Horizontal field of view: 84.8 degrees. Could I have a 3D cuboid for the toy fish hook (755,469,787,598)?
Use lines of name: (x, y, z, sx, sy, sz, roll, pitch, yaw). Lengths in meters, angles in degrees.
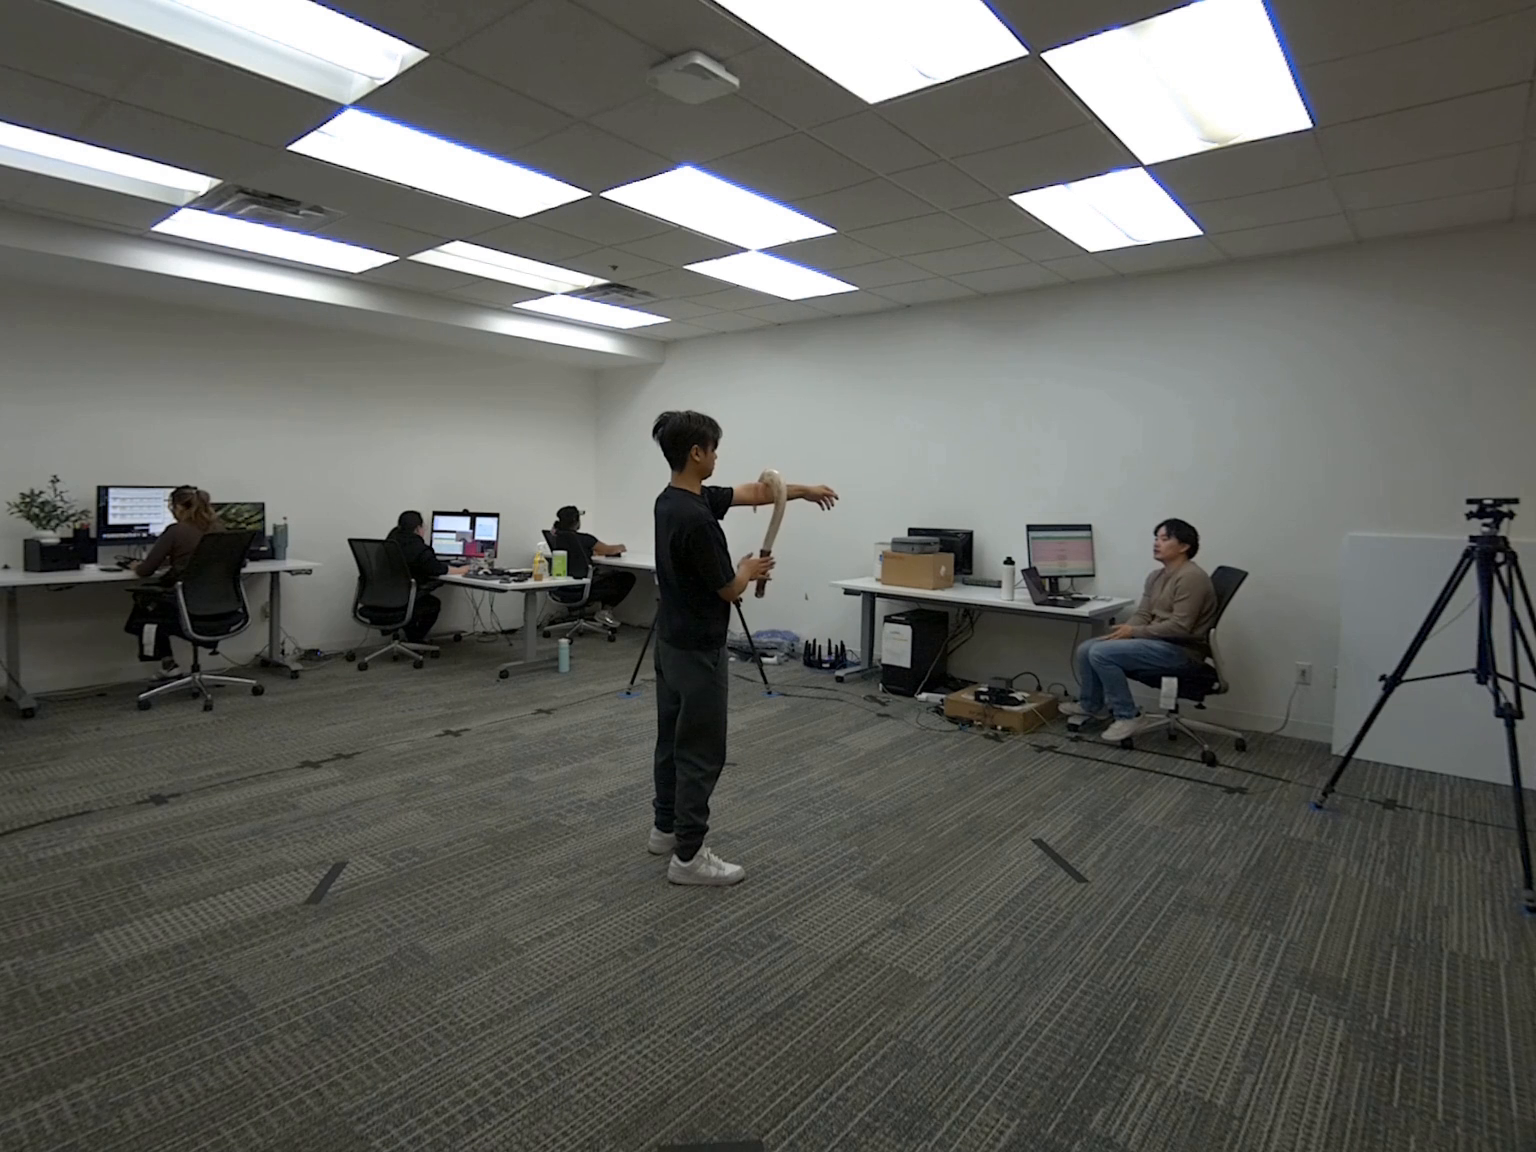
toy fish hook: (-0.033, -0.175, 3.363, 0.047, 0.500, 0.233, 2, 18, -27)
